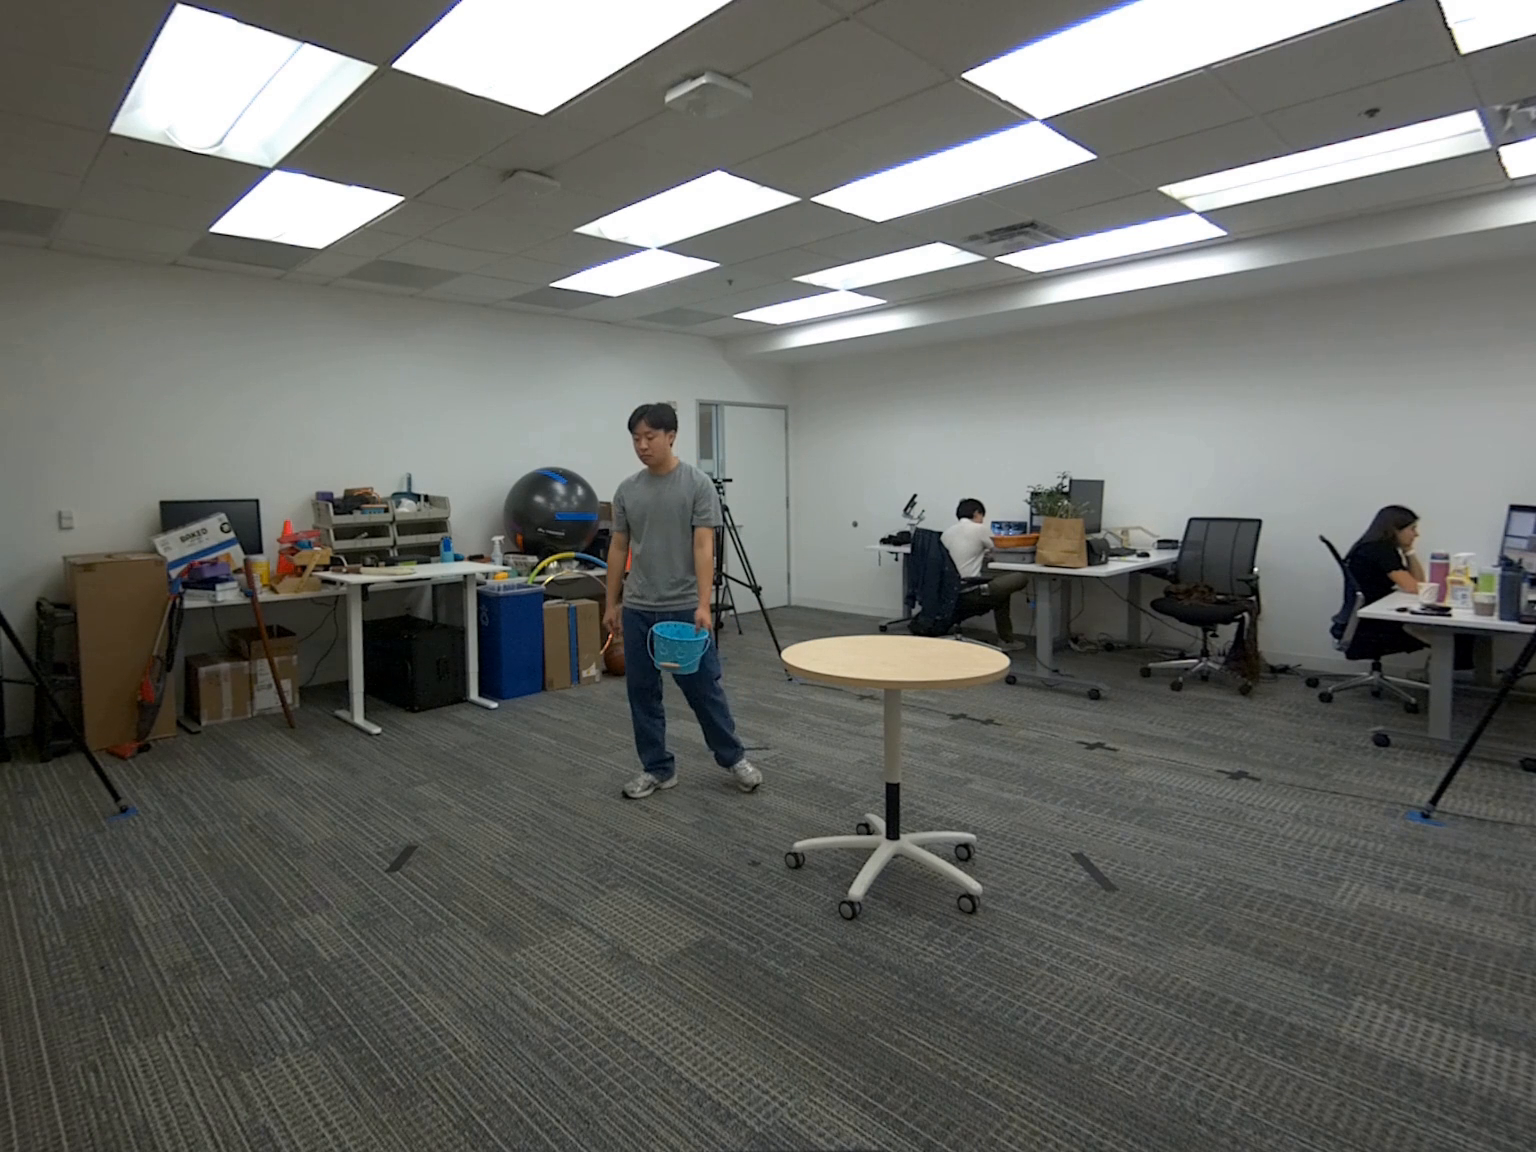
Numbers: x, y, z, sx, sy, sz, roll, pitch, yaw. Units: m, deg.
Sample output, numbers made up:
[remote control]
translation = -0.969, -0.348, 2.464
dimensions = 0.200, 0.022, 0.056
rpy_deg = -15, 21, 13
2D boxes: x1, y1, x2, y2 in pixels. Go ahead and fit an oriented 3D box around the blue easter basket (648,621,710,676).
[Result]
[blue easter basket]
translation = -0.355, 0.295, 3.478
dimensions = 0.243, 0.154, 0.246
rpy_deg = 6, 11, -3
